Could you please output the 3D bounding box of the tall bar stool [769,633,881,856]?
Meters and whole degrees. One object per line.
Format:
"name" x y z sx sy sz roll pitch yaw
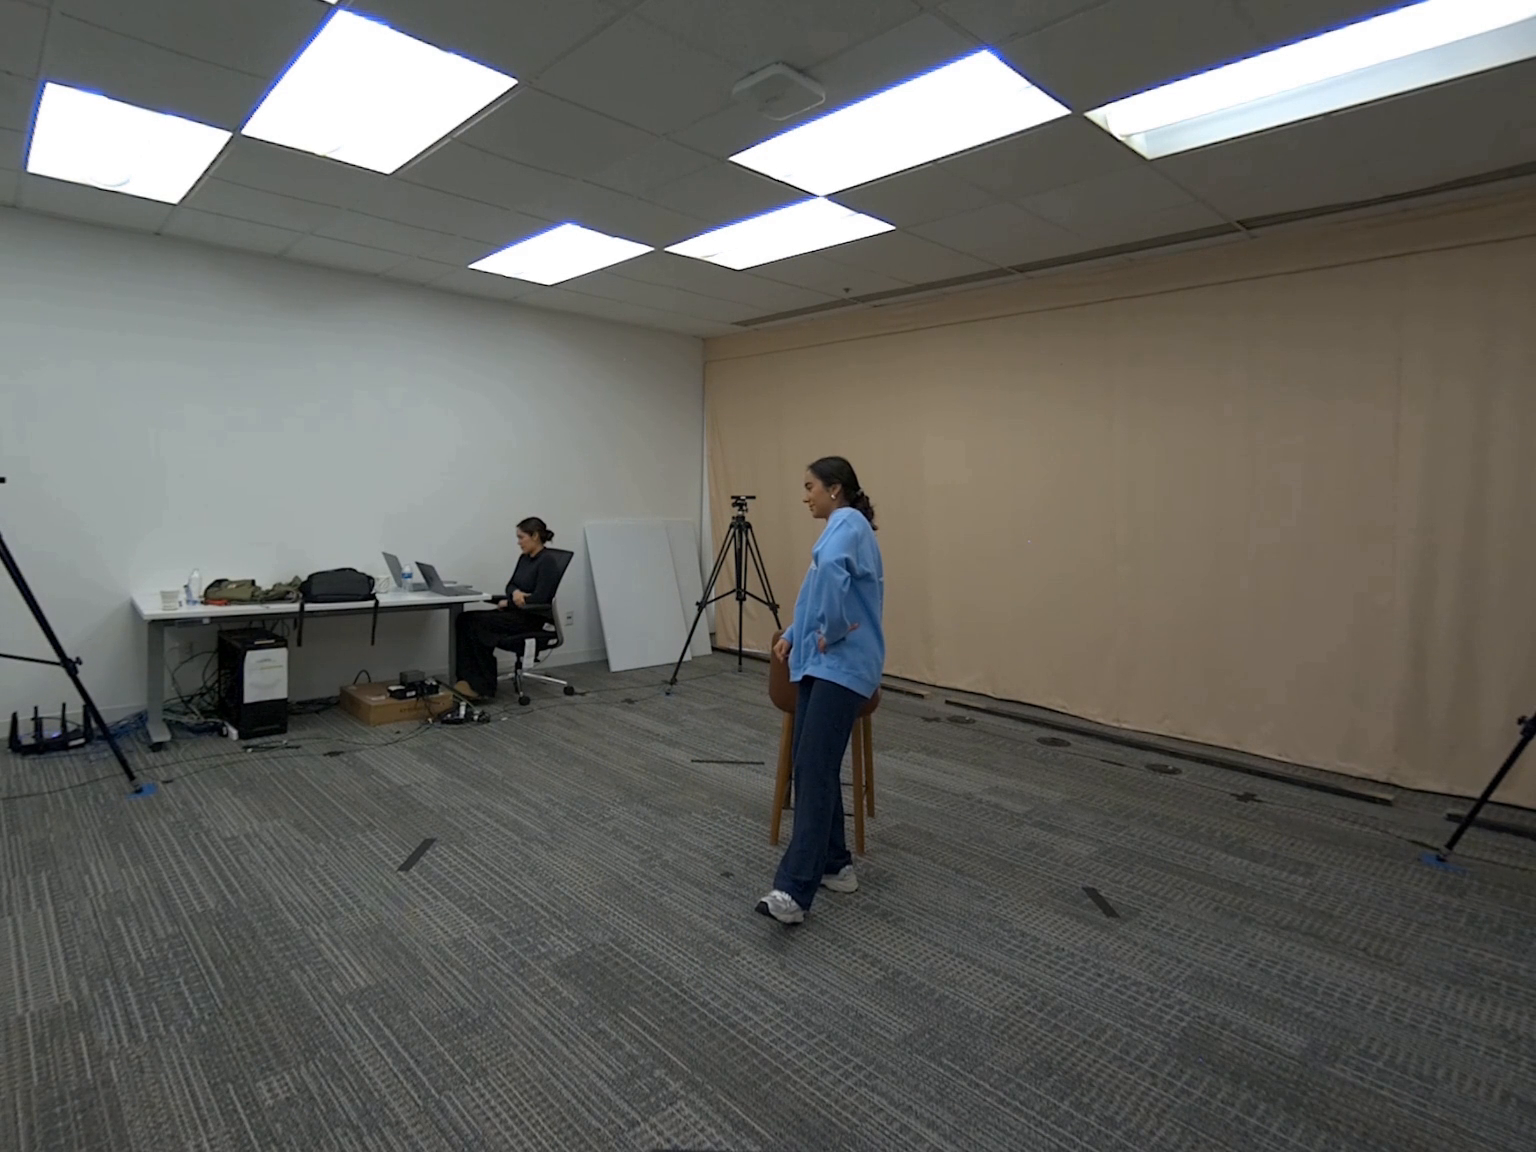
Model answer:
"tall bar stool" 0.235 0.639 3.538 0.461 0.887 0.464 2 4 13
